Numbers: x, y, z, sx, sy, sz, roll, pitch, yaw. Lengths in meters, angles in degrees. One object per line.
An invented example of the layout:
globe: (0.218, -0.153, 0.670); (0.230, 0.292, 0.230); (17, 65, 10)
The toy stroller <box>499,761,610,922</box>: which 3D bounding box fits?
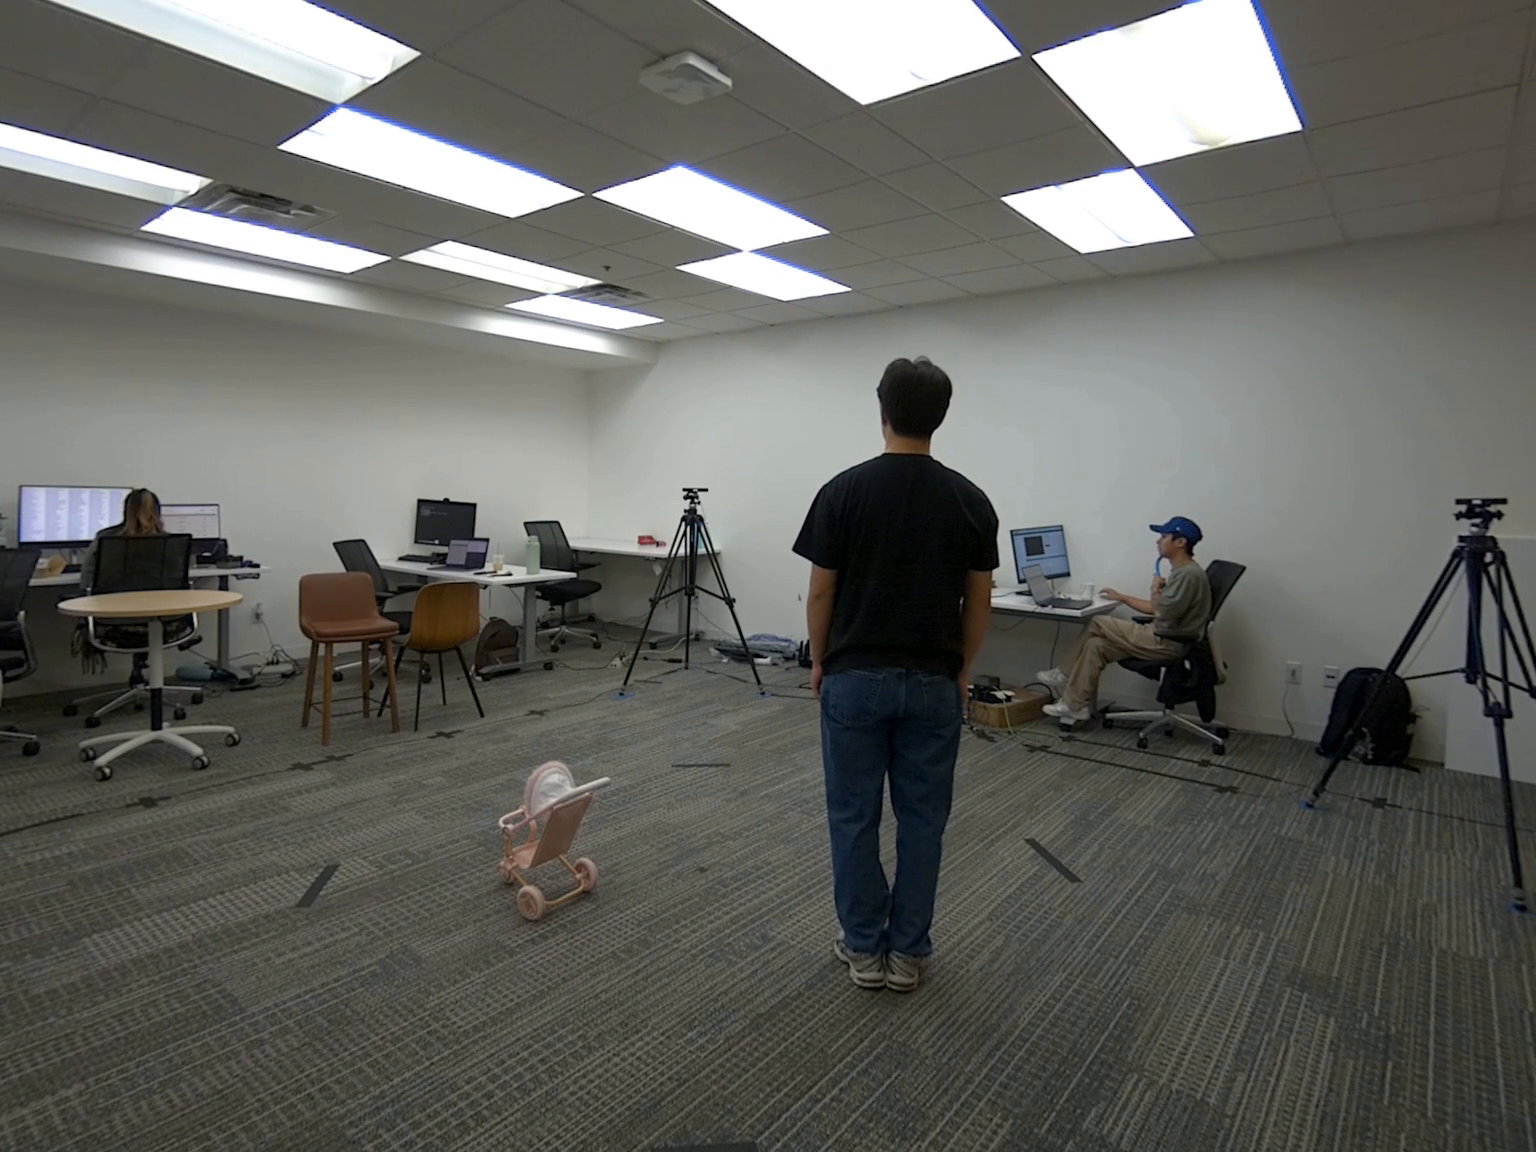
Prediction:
toy stroller: (-0.756, 0.857, 2.857); (0.355, 0.530, 0.273); (22, 15, 36)
